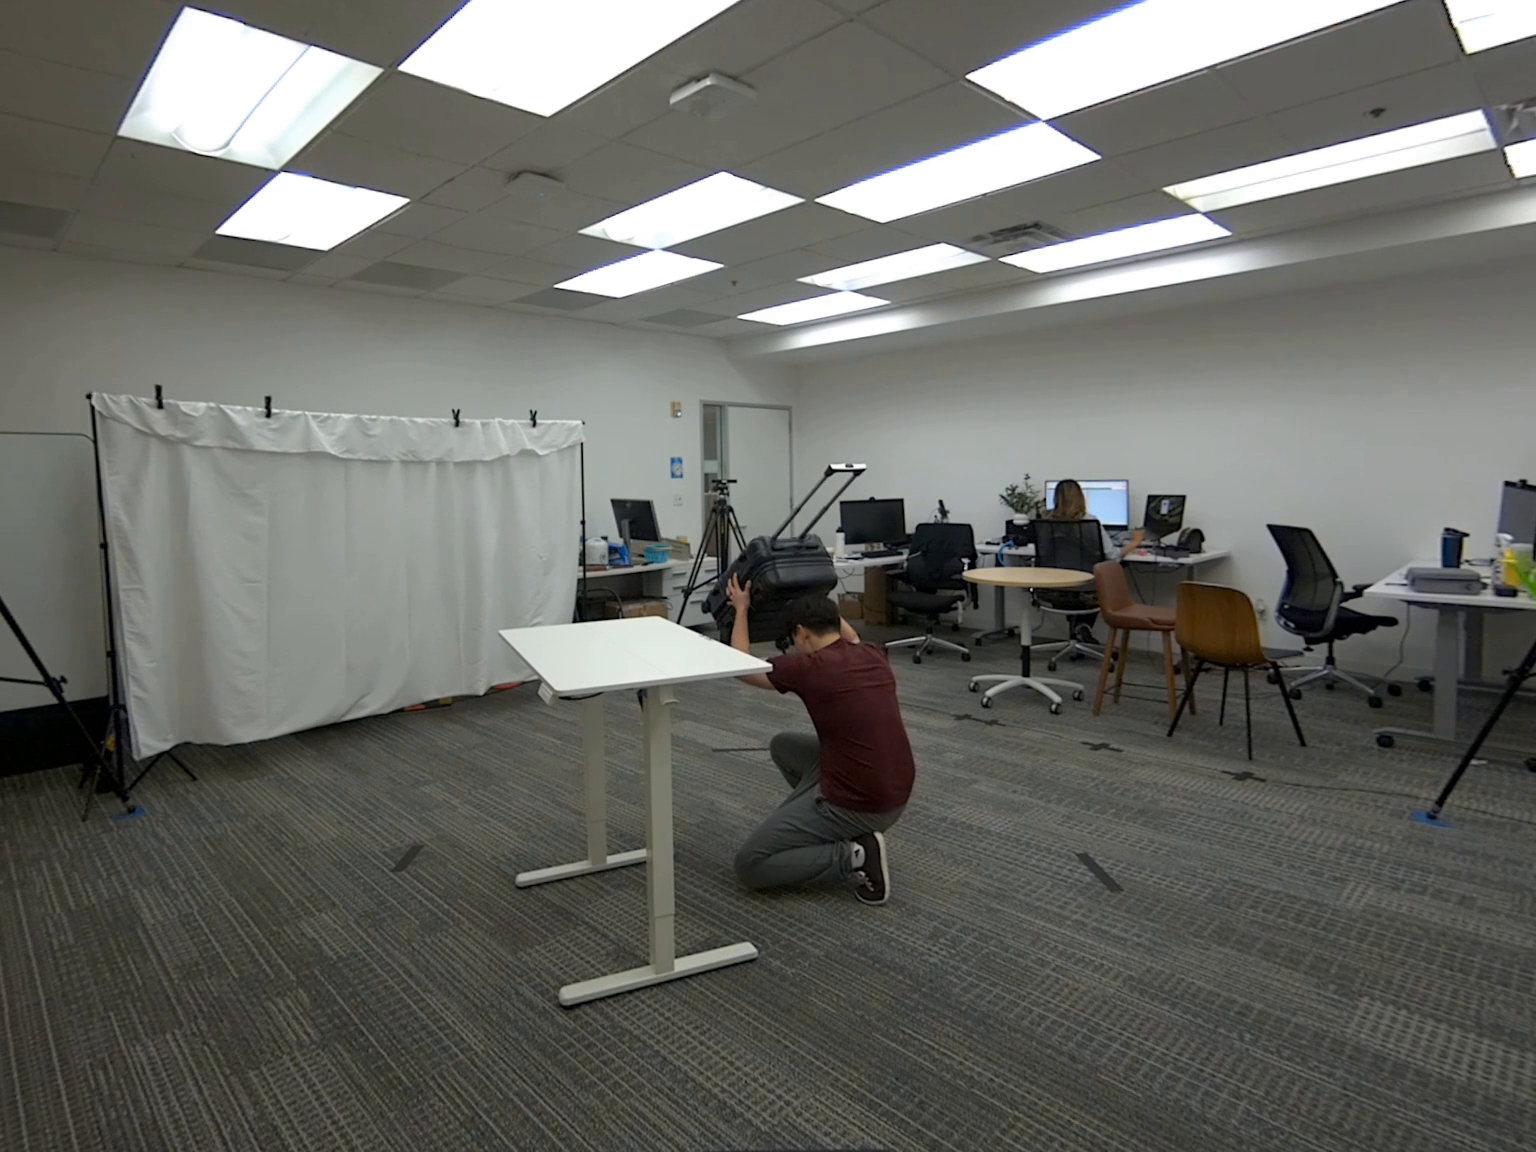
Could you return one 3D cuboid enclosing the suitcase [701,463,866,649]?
[{"bbox_3d":[0.106,-0.040,3.331,0.374,0.264,0.975,-1,-32,-32],"label":"suitcase"}]
